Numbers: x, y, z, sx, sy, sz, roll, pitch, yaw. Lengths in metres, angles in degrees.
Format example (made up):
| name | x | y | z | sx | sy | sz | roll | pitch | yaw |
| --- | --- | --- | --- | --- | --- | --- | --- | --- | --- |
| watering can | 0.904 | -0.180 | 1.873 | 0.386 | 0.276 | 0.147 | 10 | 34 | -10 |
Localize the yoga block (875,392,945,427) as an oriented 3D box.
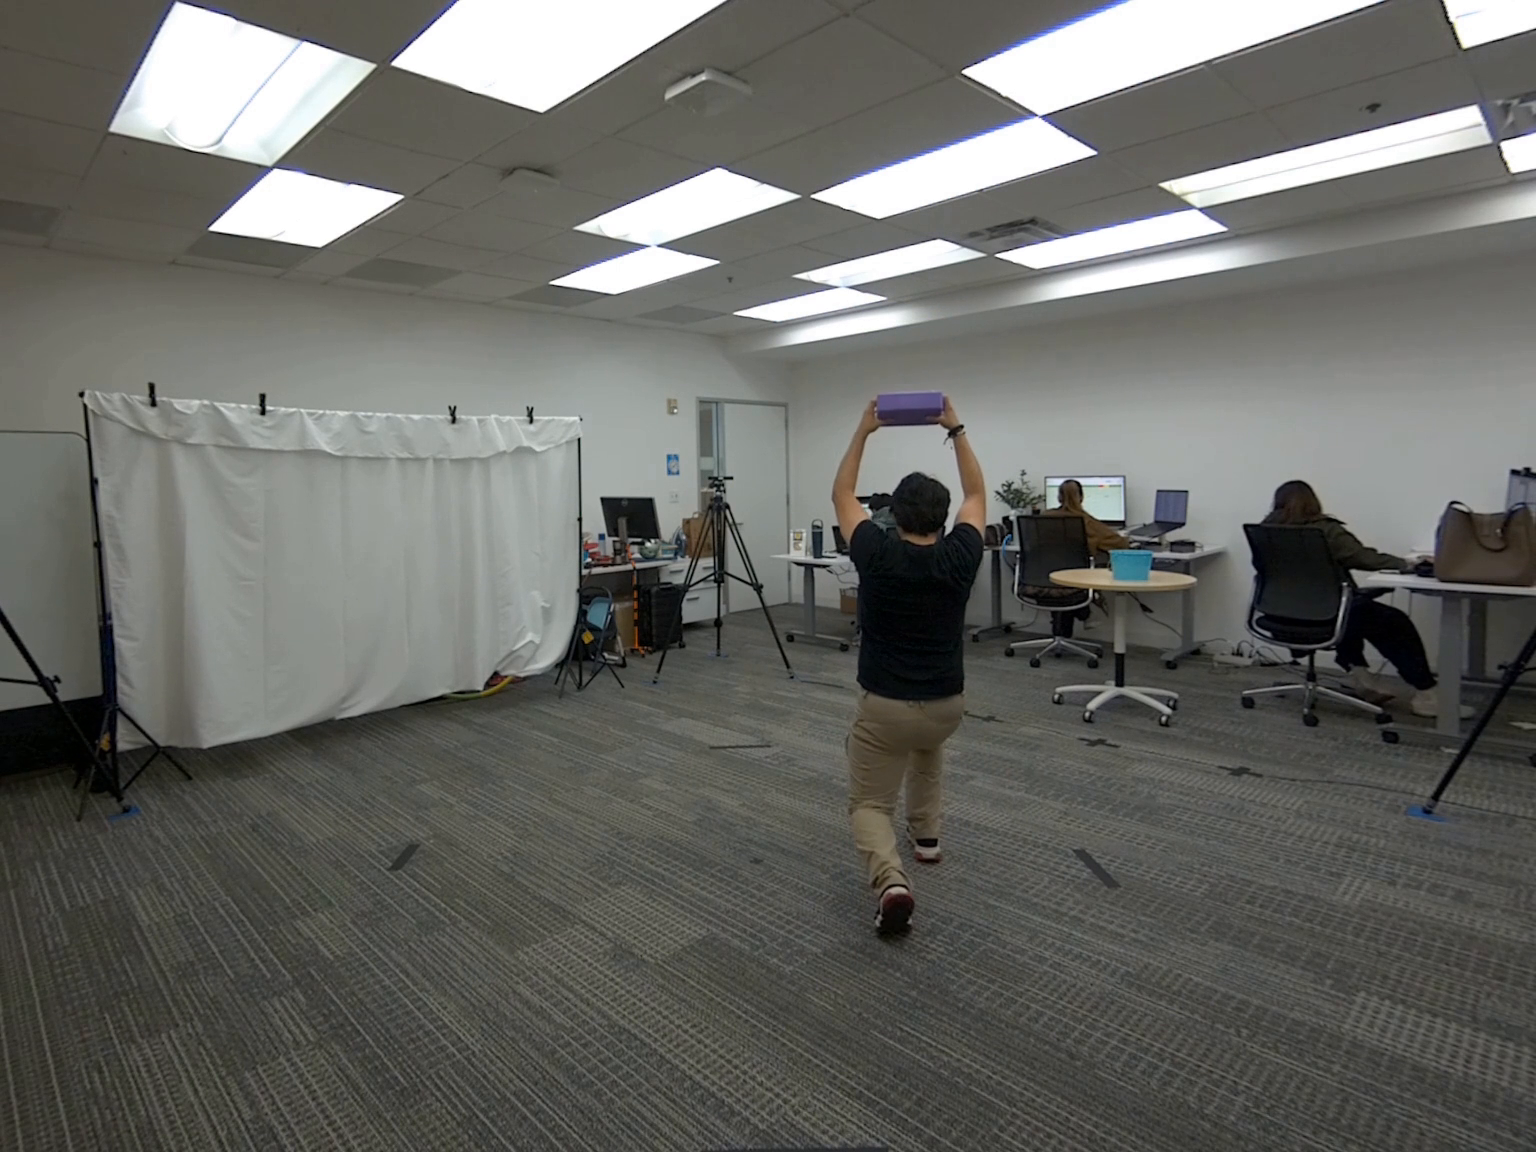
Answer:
| name | x | y | z | sx | sy | sz | roll | pitch | yaw |
| --- | --- | --- | --- | --- | --- | --- | --- | --- | --- |
| yoga block | 0.519 | -0.610 | 3.091 | 0.231 | 0.077 | 0.146 | 1 | -13 | 8 |
